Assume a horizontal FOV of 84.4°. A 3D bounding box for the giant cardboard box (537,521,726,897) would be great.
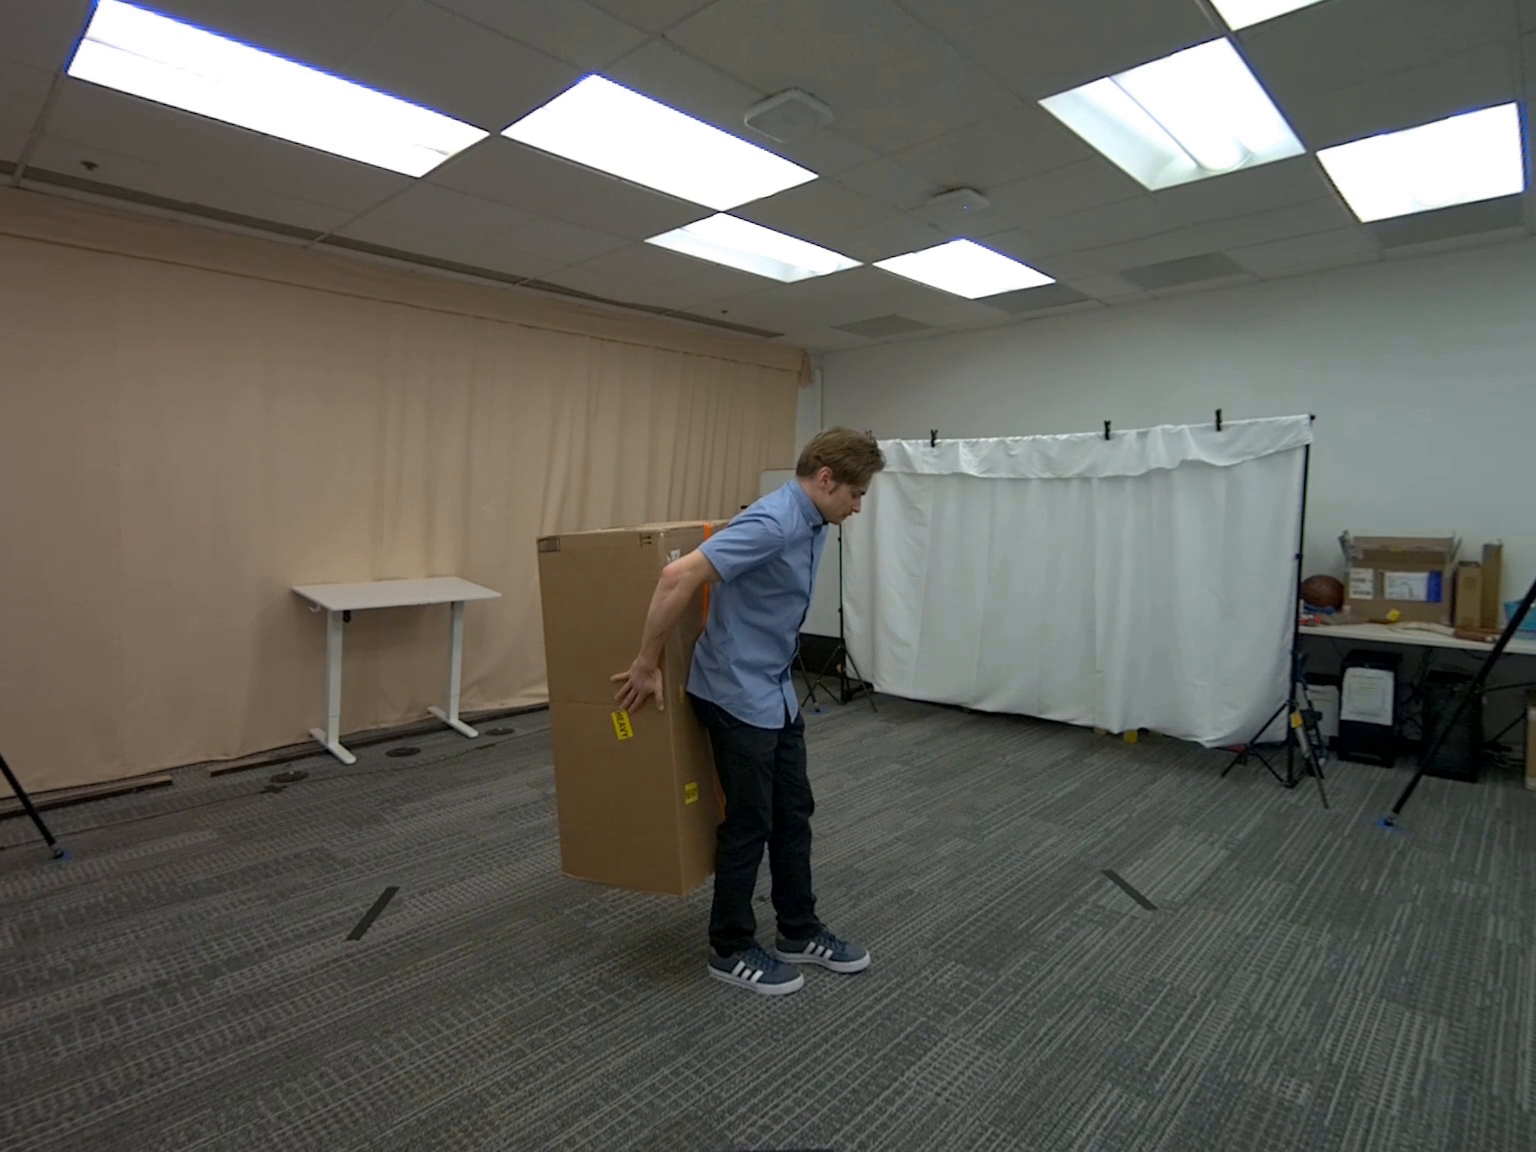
[{"bbox_3d":[-0.340,0.358,2.638,0.458,1.025,0.571,-4,3,25],"label":"giant cardboard box"}]
